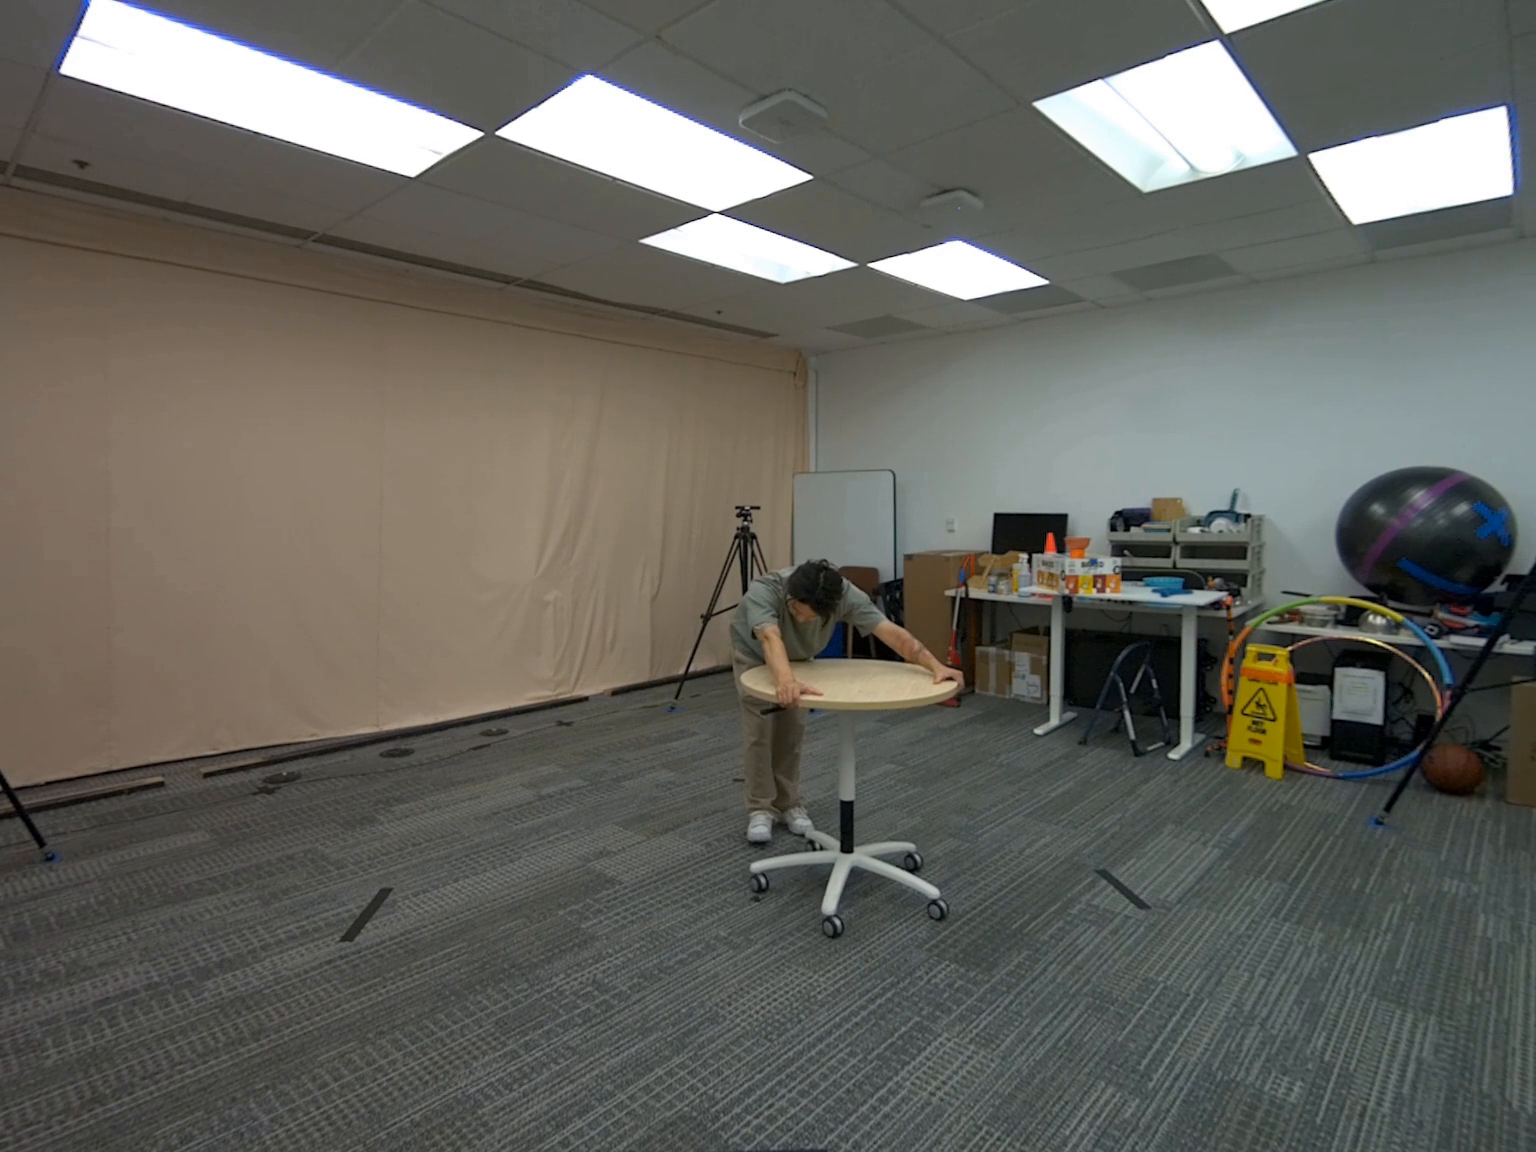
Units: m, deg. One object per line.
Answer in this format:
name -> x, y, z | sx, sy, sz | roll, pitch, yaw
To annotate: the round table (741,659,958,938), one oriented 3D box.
round table -> 0.312, 0.752, 3.034 | 0.784, 0.784, 0.788 | -1, 4, -2
